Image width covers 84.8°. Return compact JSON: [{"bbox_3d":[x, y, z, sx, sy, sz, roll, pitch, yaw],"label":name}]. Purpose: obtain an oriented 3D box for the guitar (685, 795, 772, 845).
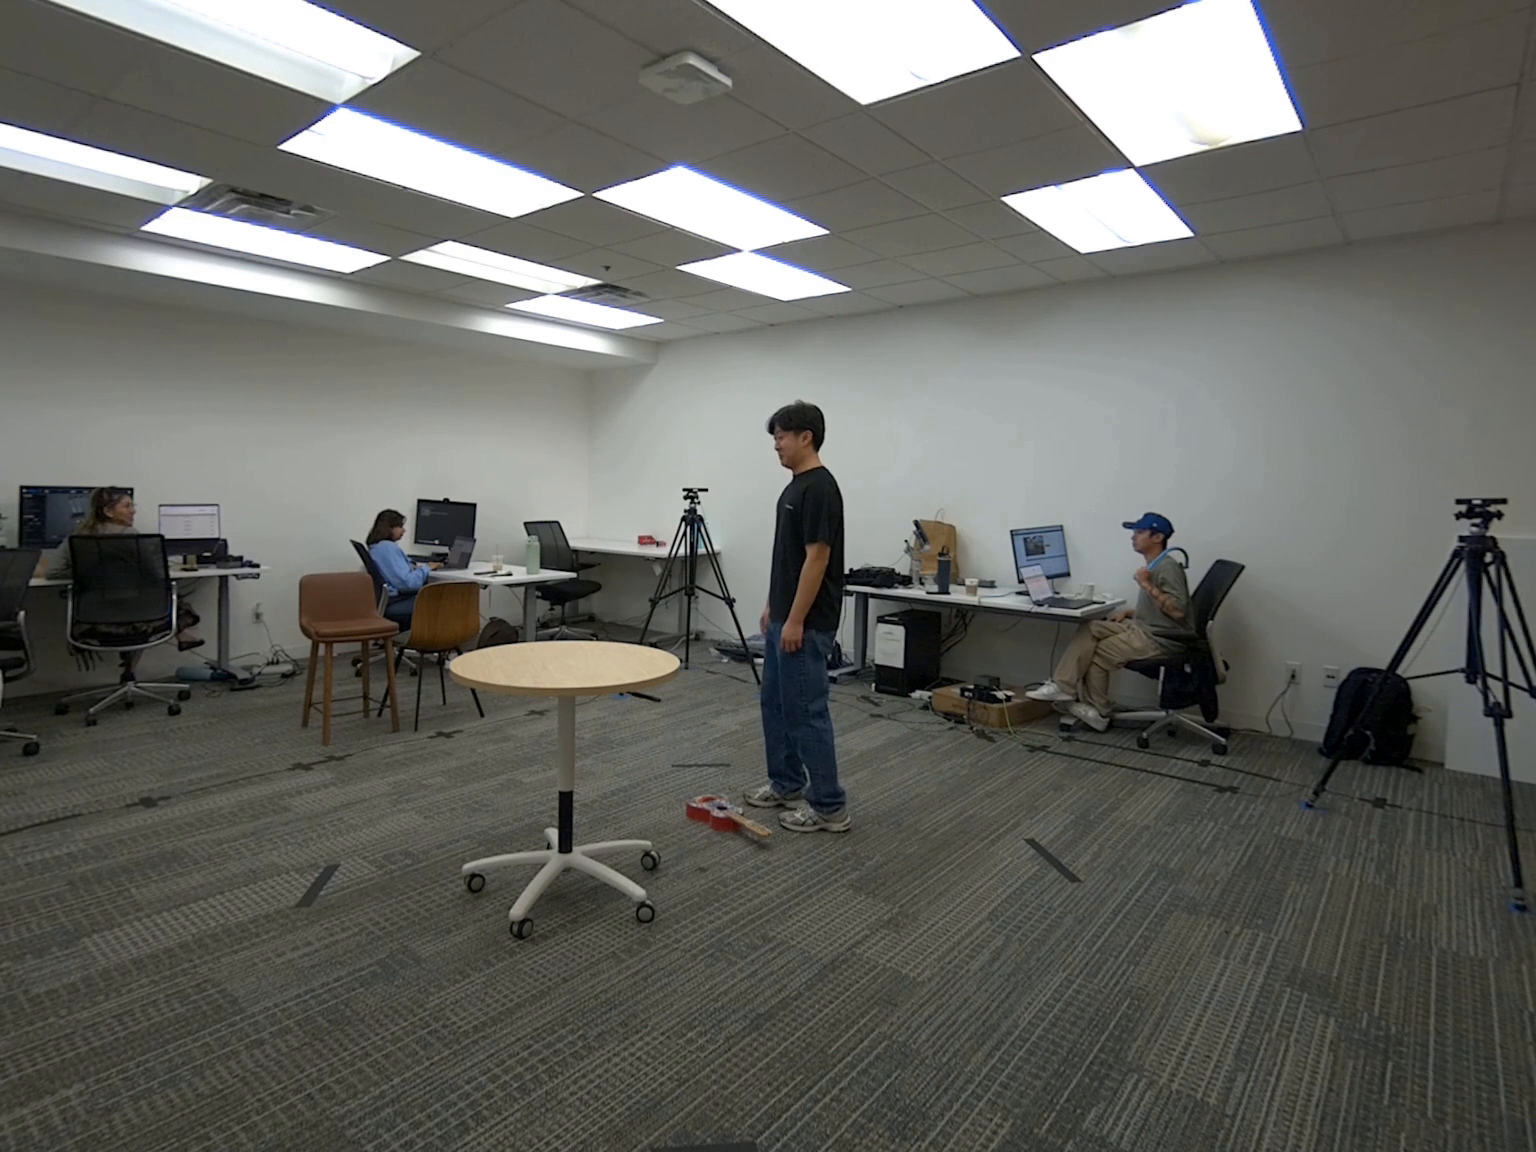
[{"bbox_3d":[-0.183,1.001,3.482,0.188,0.070,0.512,-1,6,-27],"label":"guitar"}]
